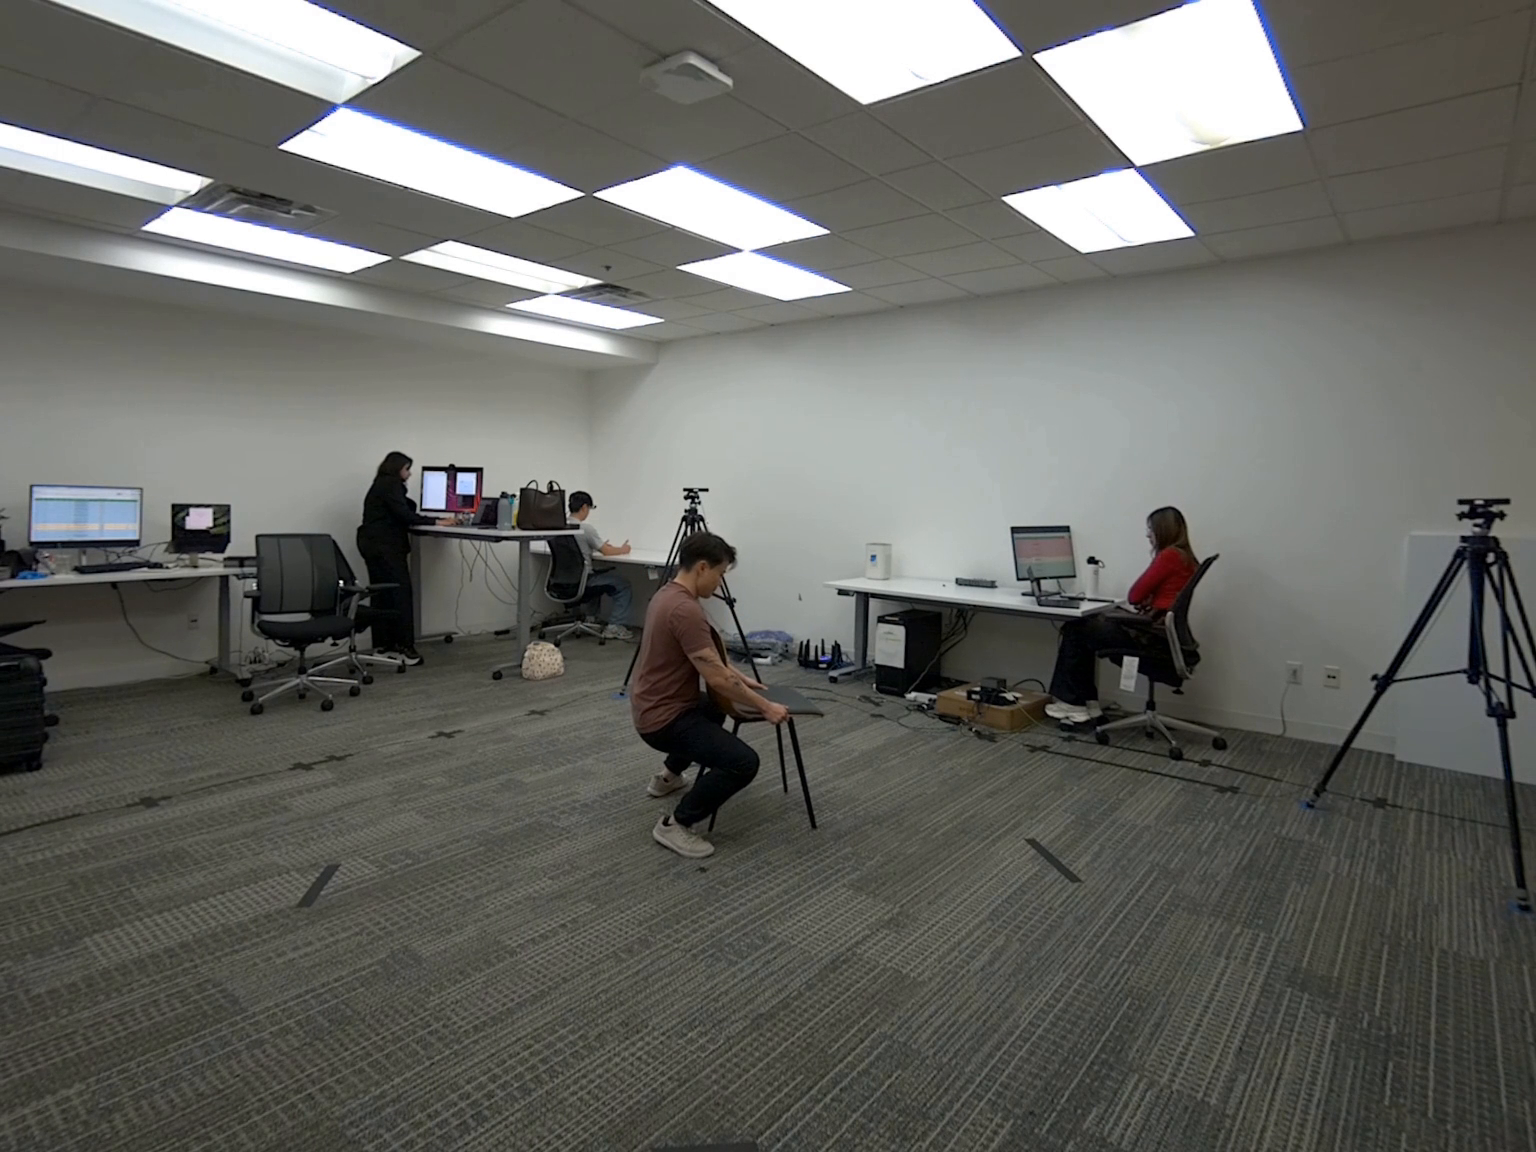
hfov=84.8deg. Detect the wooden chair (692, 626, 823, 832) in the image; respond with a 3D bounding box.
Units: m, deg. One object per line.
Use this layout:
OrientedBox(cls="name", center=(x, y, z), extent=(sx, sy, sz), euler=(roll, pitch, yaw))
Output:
OrientedBox(cls="wooden chair", center=(-0.040, 0.589, 3.656), extent=(0.517, 0.876, 0.485), euler=(-2, 2, -12))
